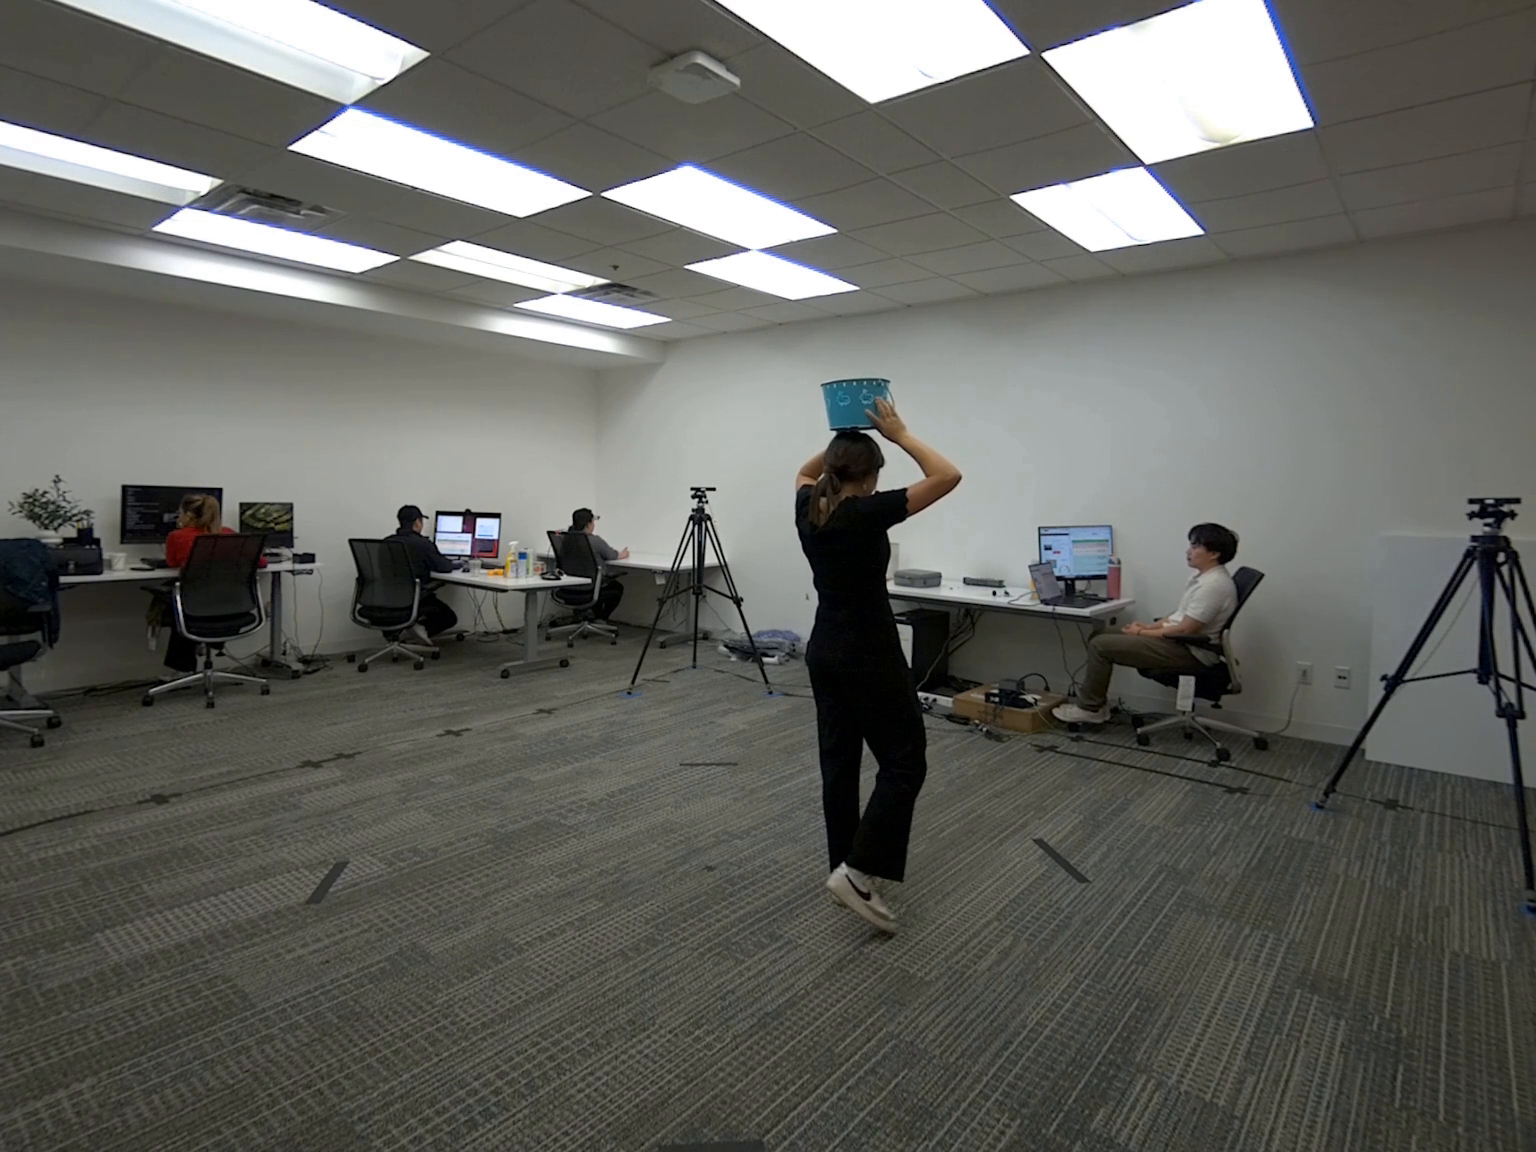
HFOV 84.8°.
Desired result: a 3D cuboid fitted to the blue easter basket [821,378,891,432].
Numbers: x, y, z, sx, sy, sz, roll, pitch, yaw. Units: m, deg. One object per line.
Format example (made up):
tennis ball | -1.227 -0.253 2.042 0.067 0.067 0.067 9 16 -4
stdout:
blue easter basket | 0.298 -0.571 2.834 0.243 0.155 0.245 -1 5 -2
